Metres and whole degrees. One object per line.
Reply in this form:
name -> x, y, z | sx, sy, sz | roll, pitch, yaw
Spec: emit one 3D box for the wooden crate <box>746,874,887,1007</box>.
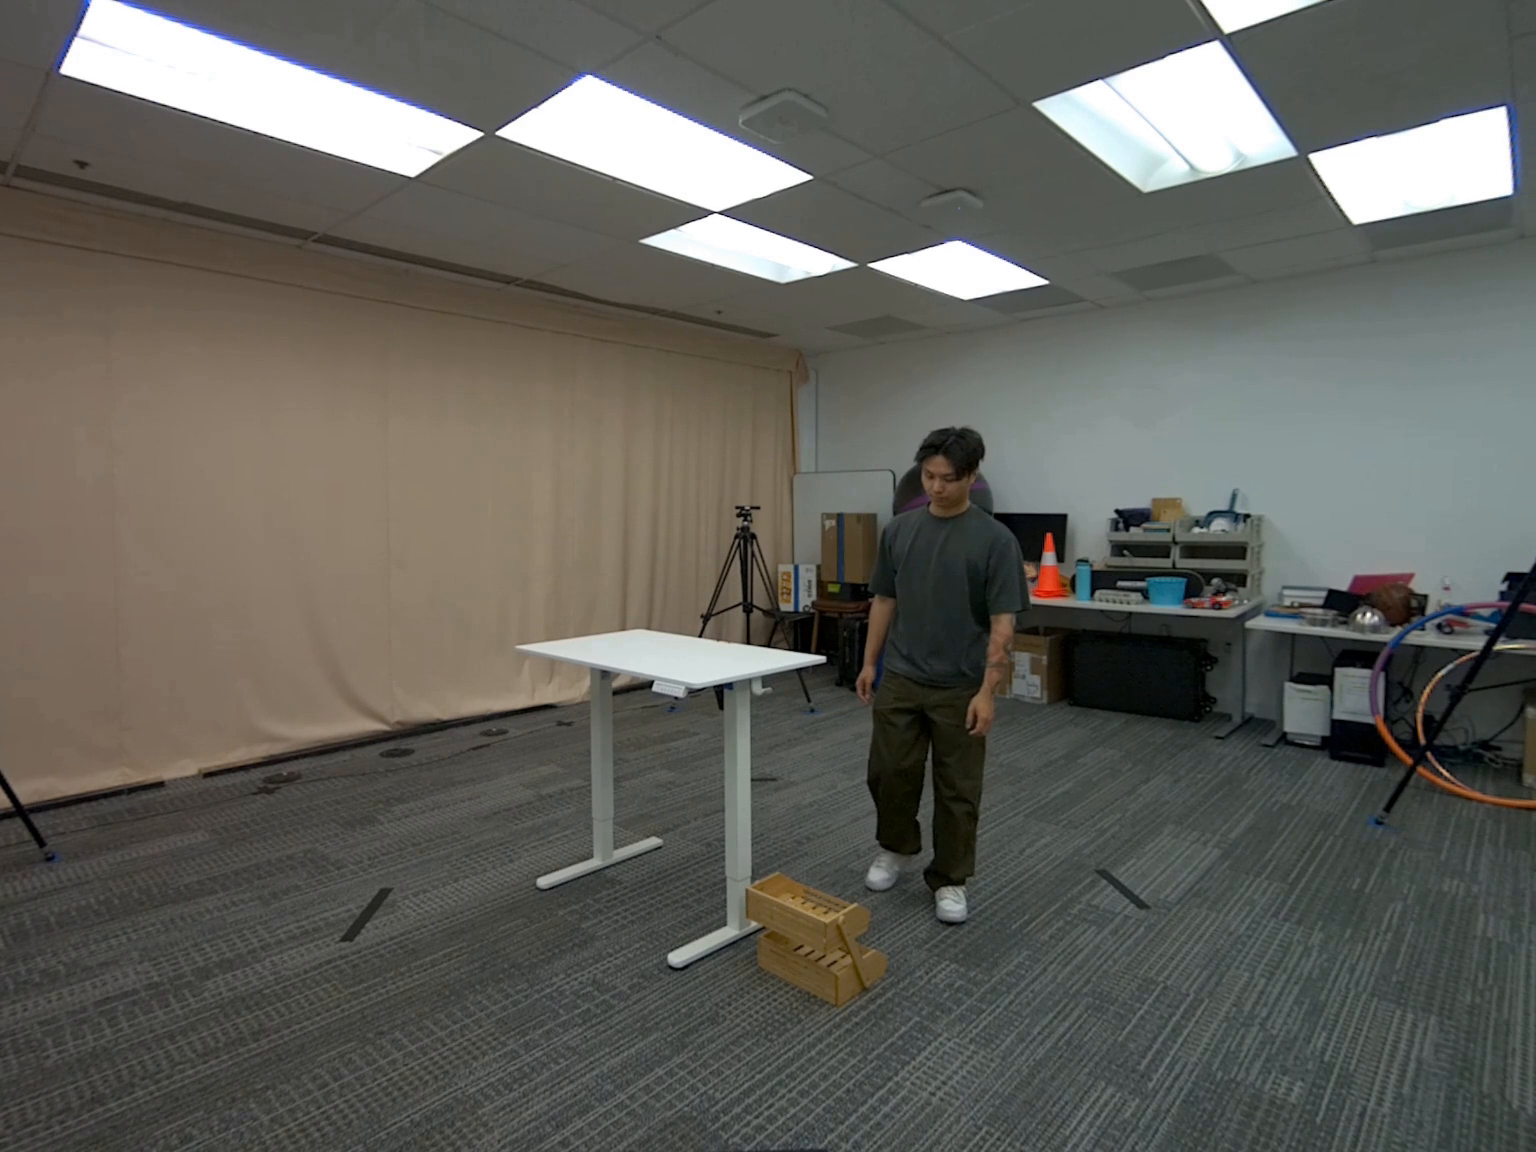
wooden crate -> 0.150, 1.052, 2.504 | 0.335, 0.273, 0.293 | 3, 5, 42
